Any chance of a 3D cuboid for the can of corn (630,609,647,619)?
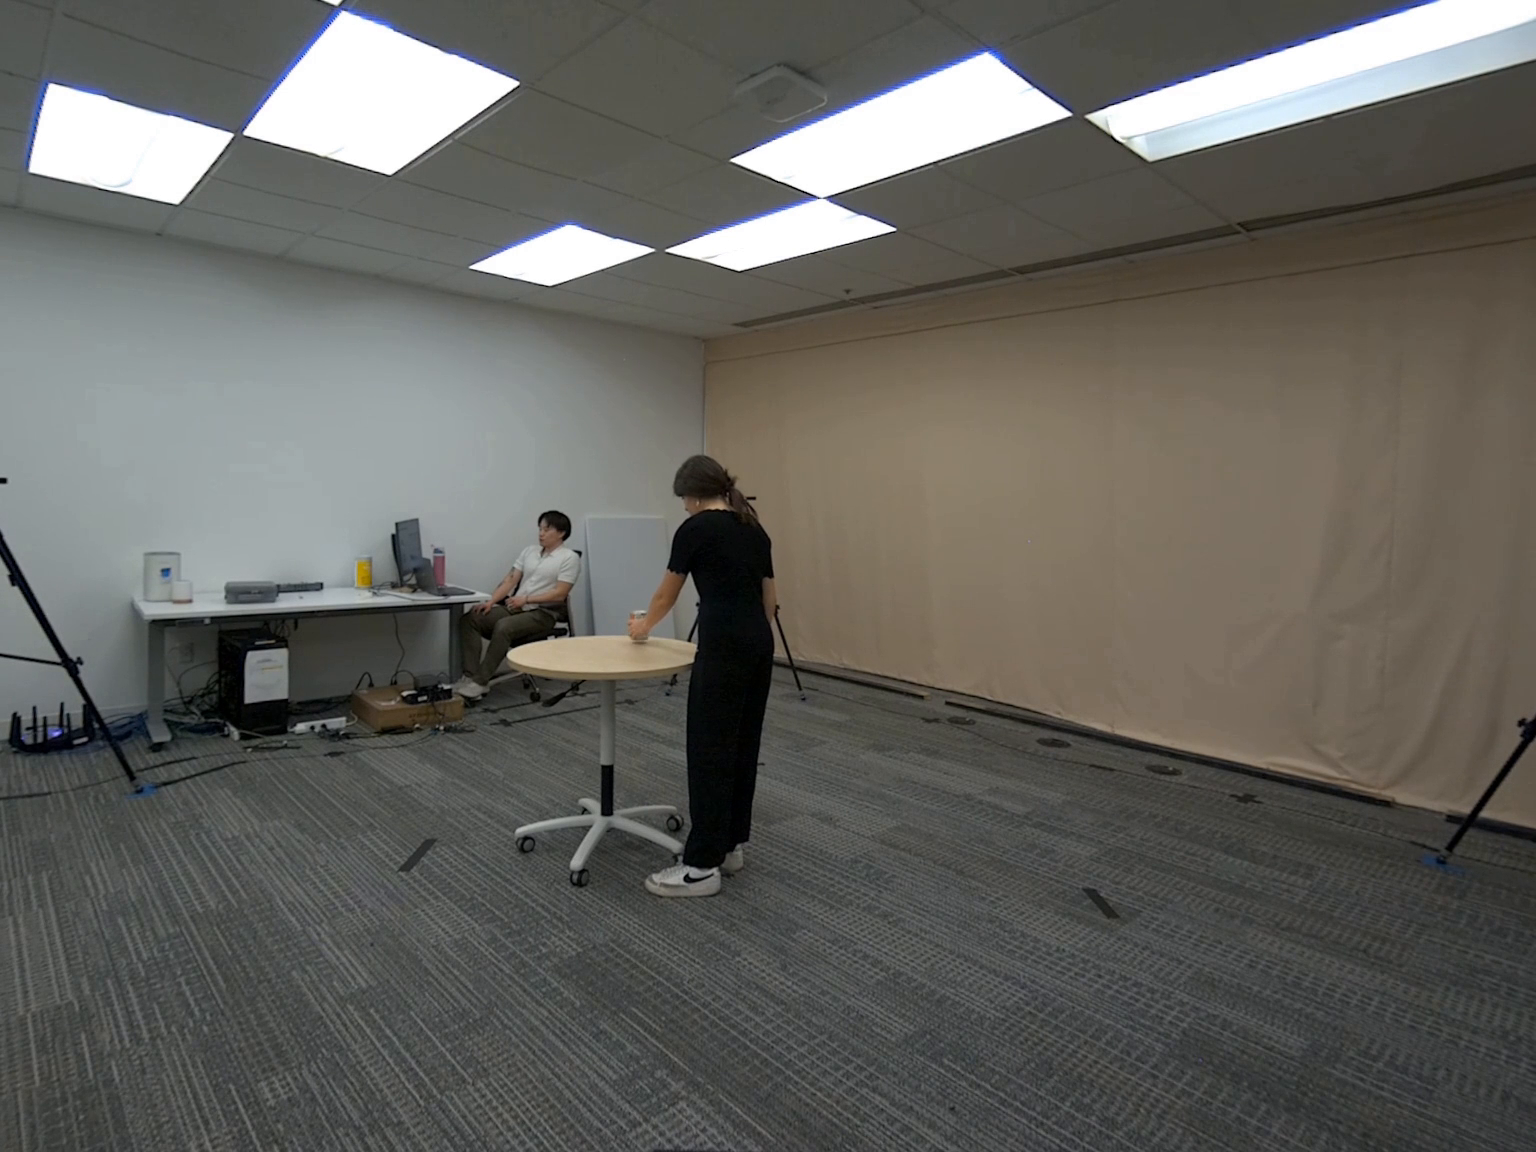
[{"bbox_3d":[-0.522,0.206,3.479,0.074,0.111,0.074,-1,2,-1],"label":"can of corn"}]
